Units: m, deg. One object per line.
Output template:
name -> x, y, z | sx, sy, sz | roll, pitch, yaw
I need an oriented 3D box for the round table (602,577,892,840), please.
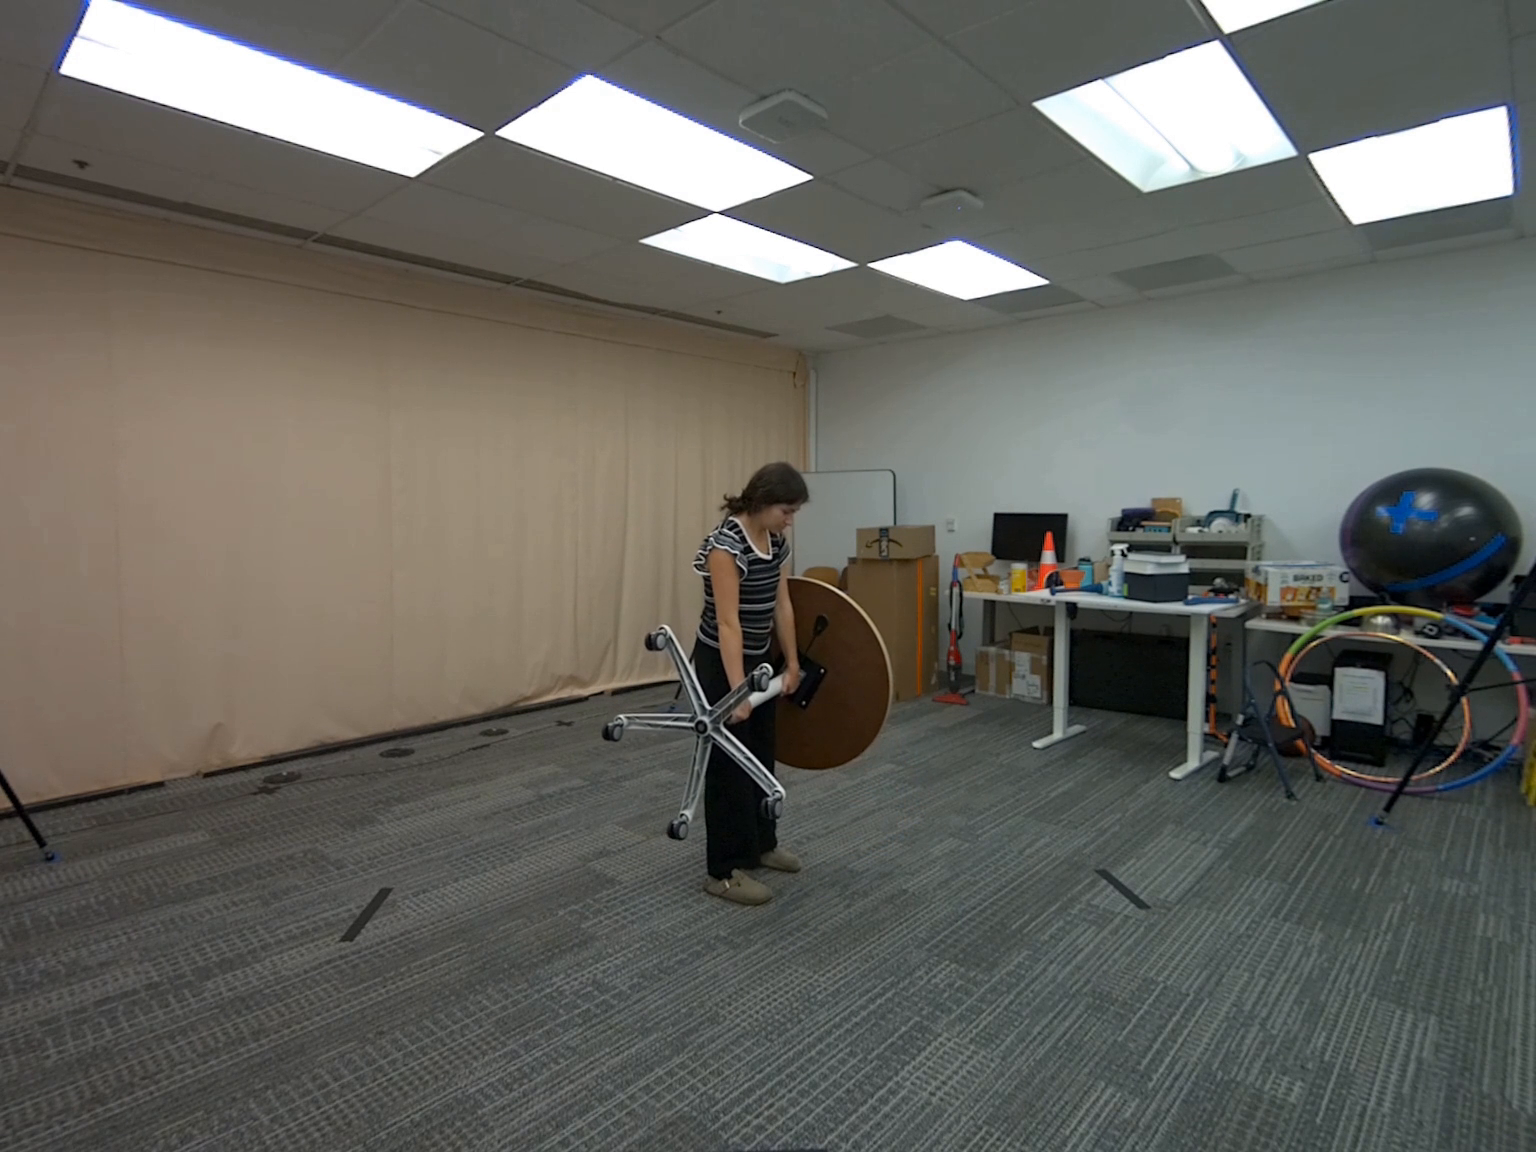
round table -> -0.064, 0.452, 2.980 | 0.787, 0.760, 0.775 | 2, 9, 31
